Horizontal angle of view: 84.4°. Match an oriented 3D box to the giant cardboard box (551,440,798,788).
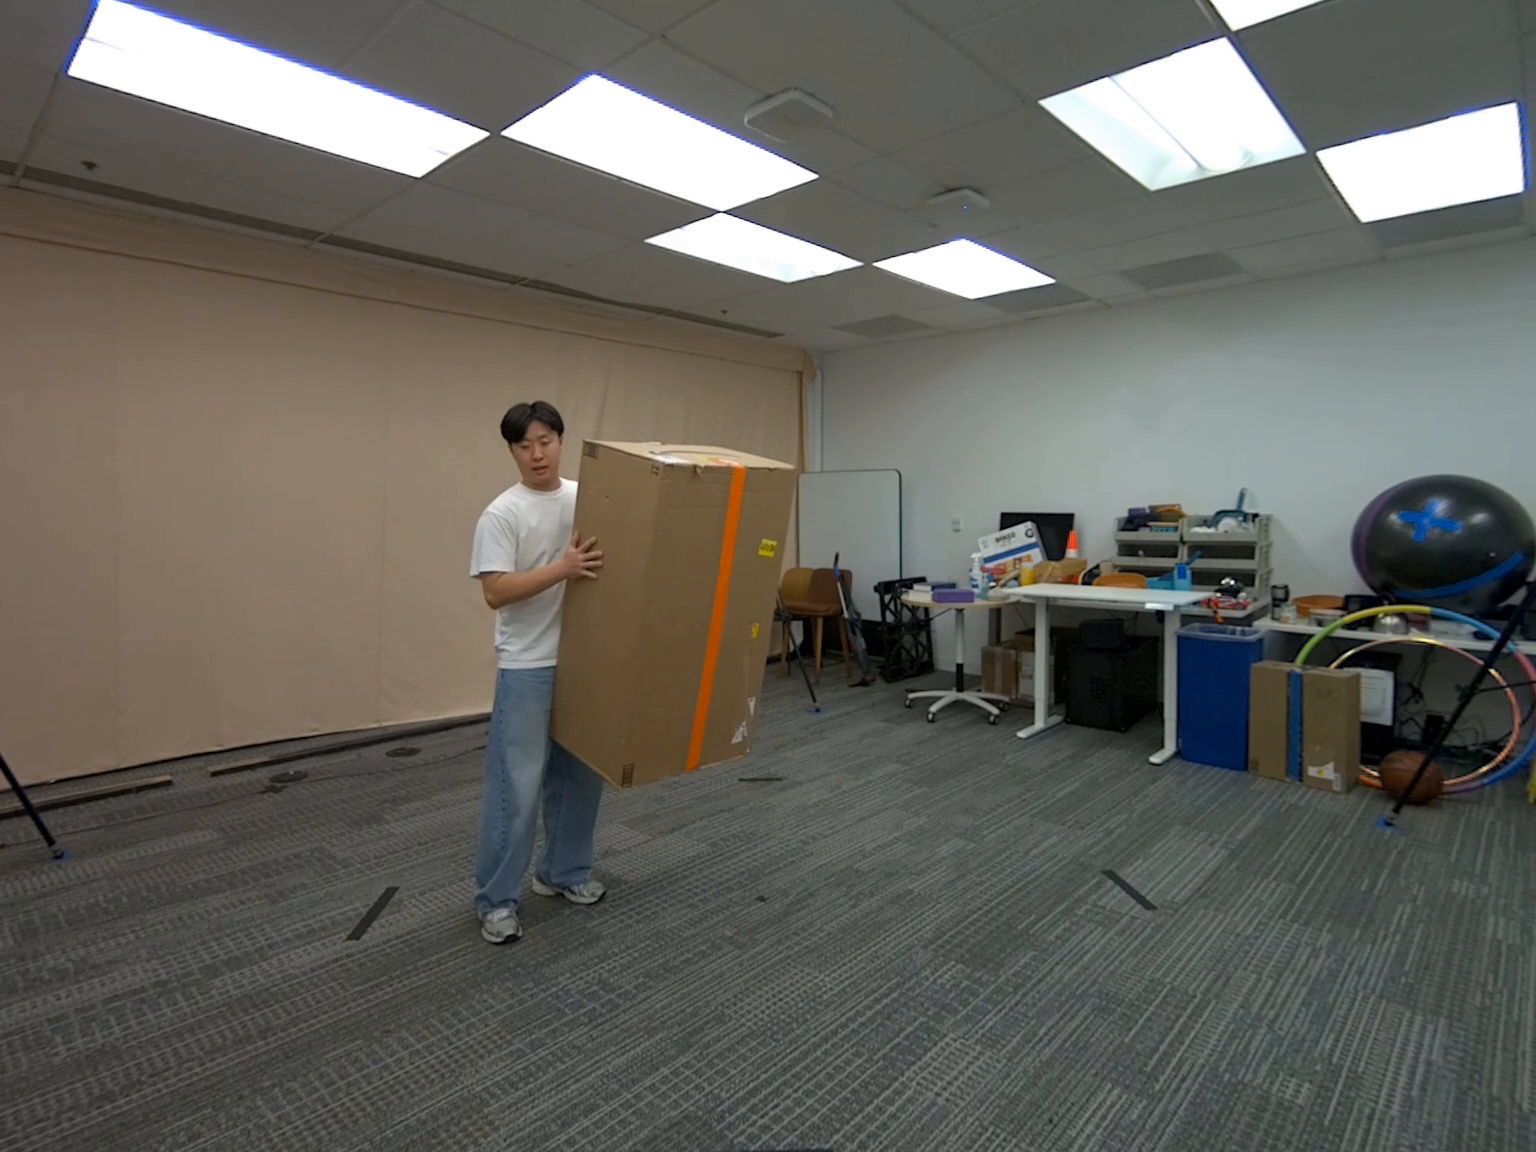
[{"bbox_3d":[-0.317,0.100,2.806,0.560,1.020,0.442,-3,17,-45],"label":"giant cardboard box"}]
